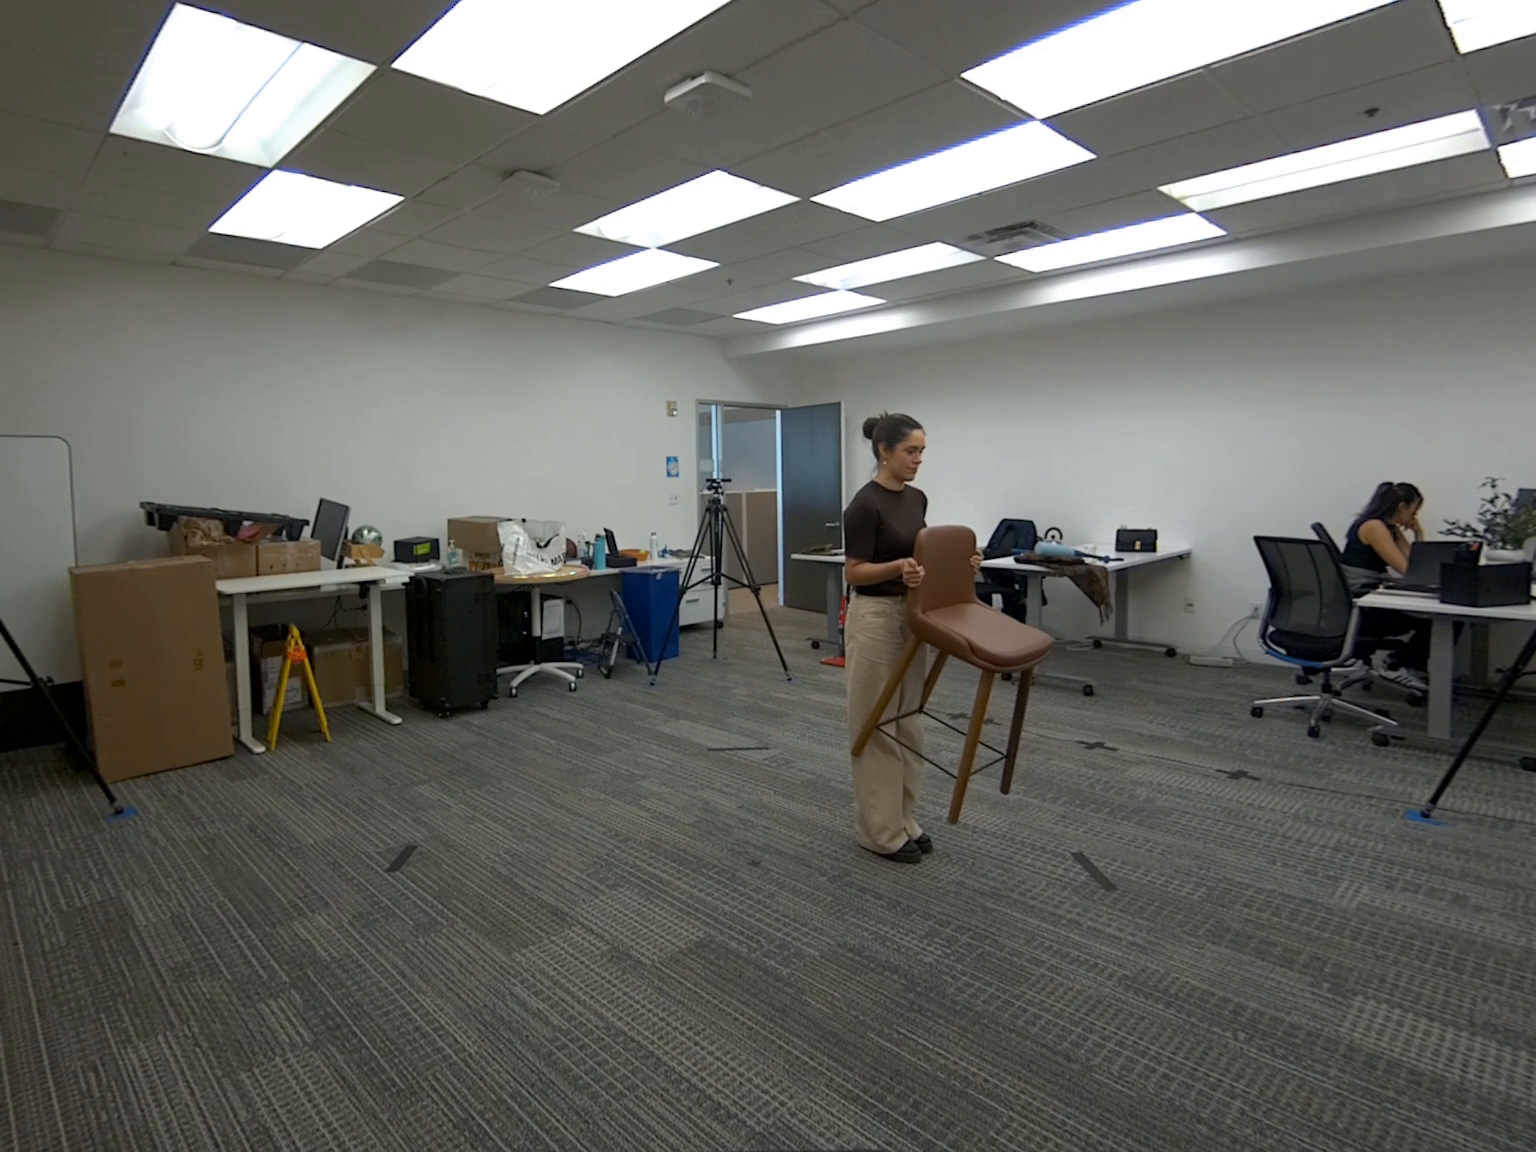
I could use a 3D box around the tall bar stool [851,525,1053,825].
[{"bbox_3d":[0.687,0.321,2.989,0.485,0.881,0.444,24,18,39],"label":"tall bar stool"}]
